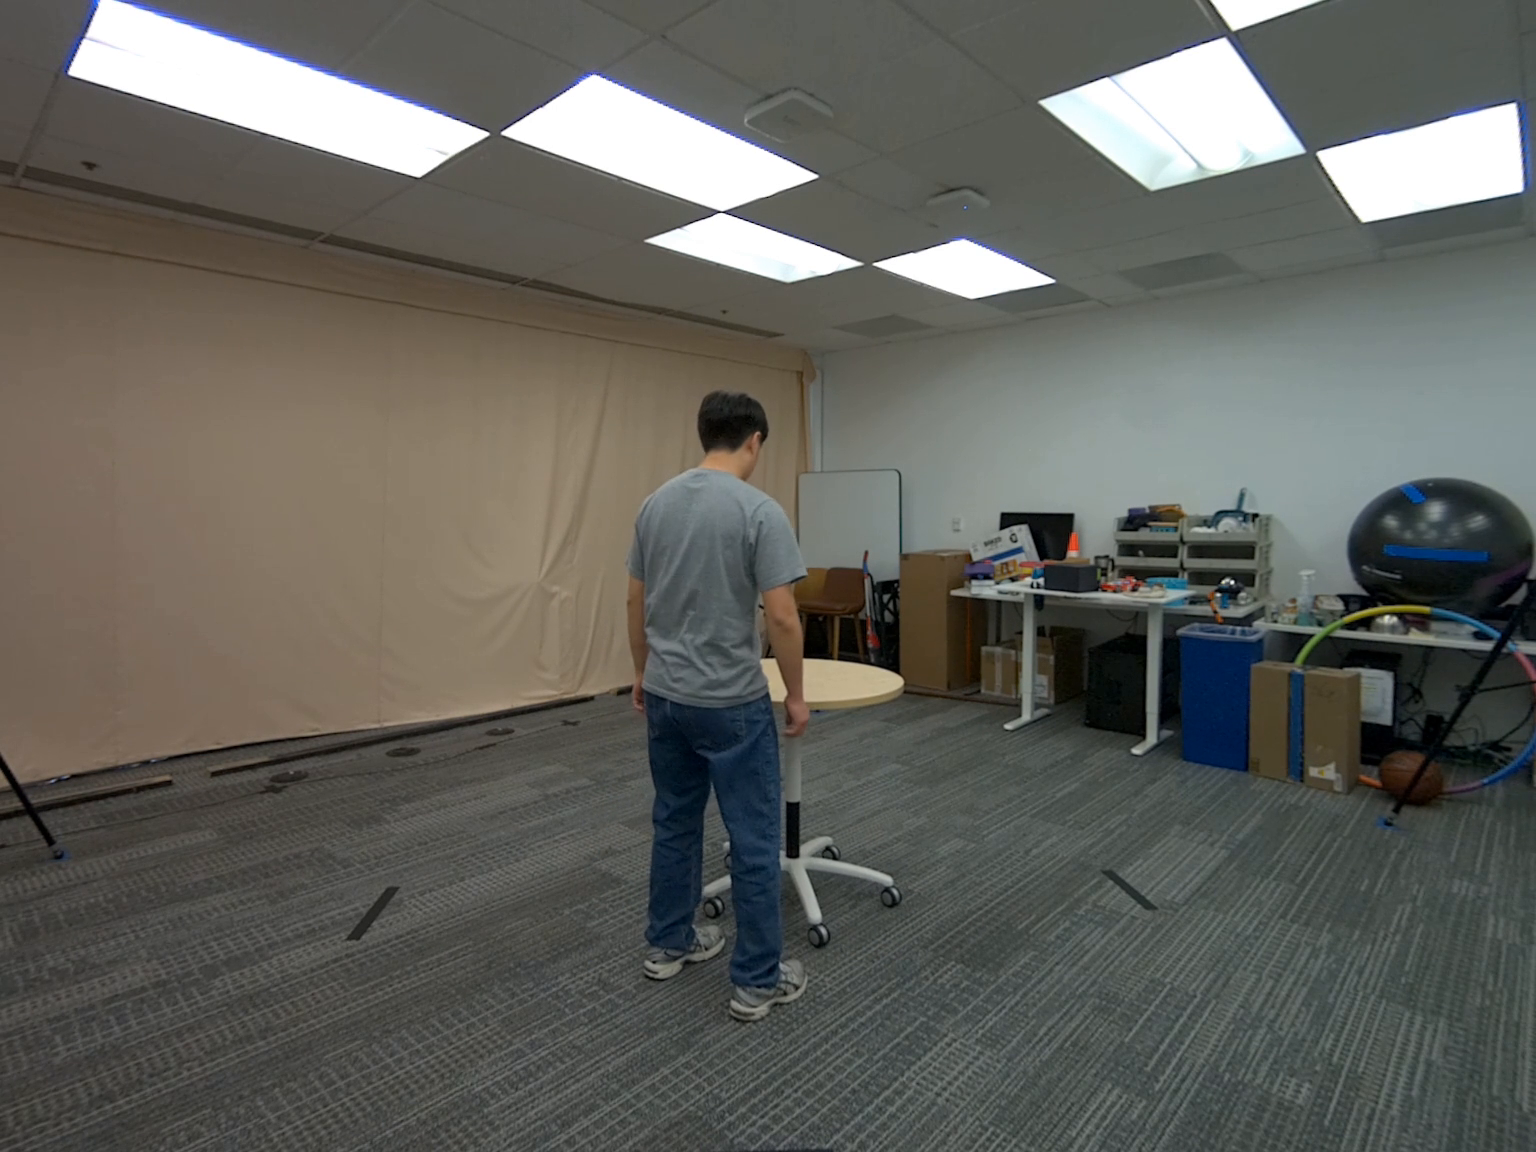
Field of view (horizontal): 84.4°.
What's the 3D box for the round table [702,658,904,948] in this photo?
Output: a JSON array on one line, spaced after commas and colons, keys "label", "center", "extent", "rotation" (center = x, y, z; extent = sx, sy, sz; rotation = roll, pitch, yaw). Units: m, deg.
[{"label": "round table", "center": [0.105, 0.754, 2.991], "extent": [0.763, 0.792, 0.766], "rotation": [0, 4, -2]}]
